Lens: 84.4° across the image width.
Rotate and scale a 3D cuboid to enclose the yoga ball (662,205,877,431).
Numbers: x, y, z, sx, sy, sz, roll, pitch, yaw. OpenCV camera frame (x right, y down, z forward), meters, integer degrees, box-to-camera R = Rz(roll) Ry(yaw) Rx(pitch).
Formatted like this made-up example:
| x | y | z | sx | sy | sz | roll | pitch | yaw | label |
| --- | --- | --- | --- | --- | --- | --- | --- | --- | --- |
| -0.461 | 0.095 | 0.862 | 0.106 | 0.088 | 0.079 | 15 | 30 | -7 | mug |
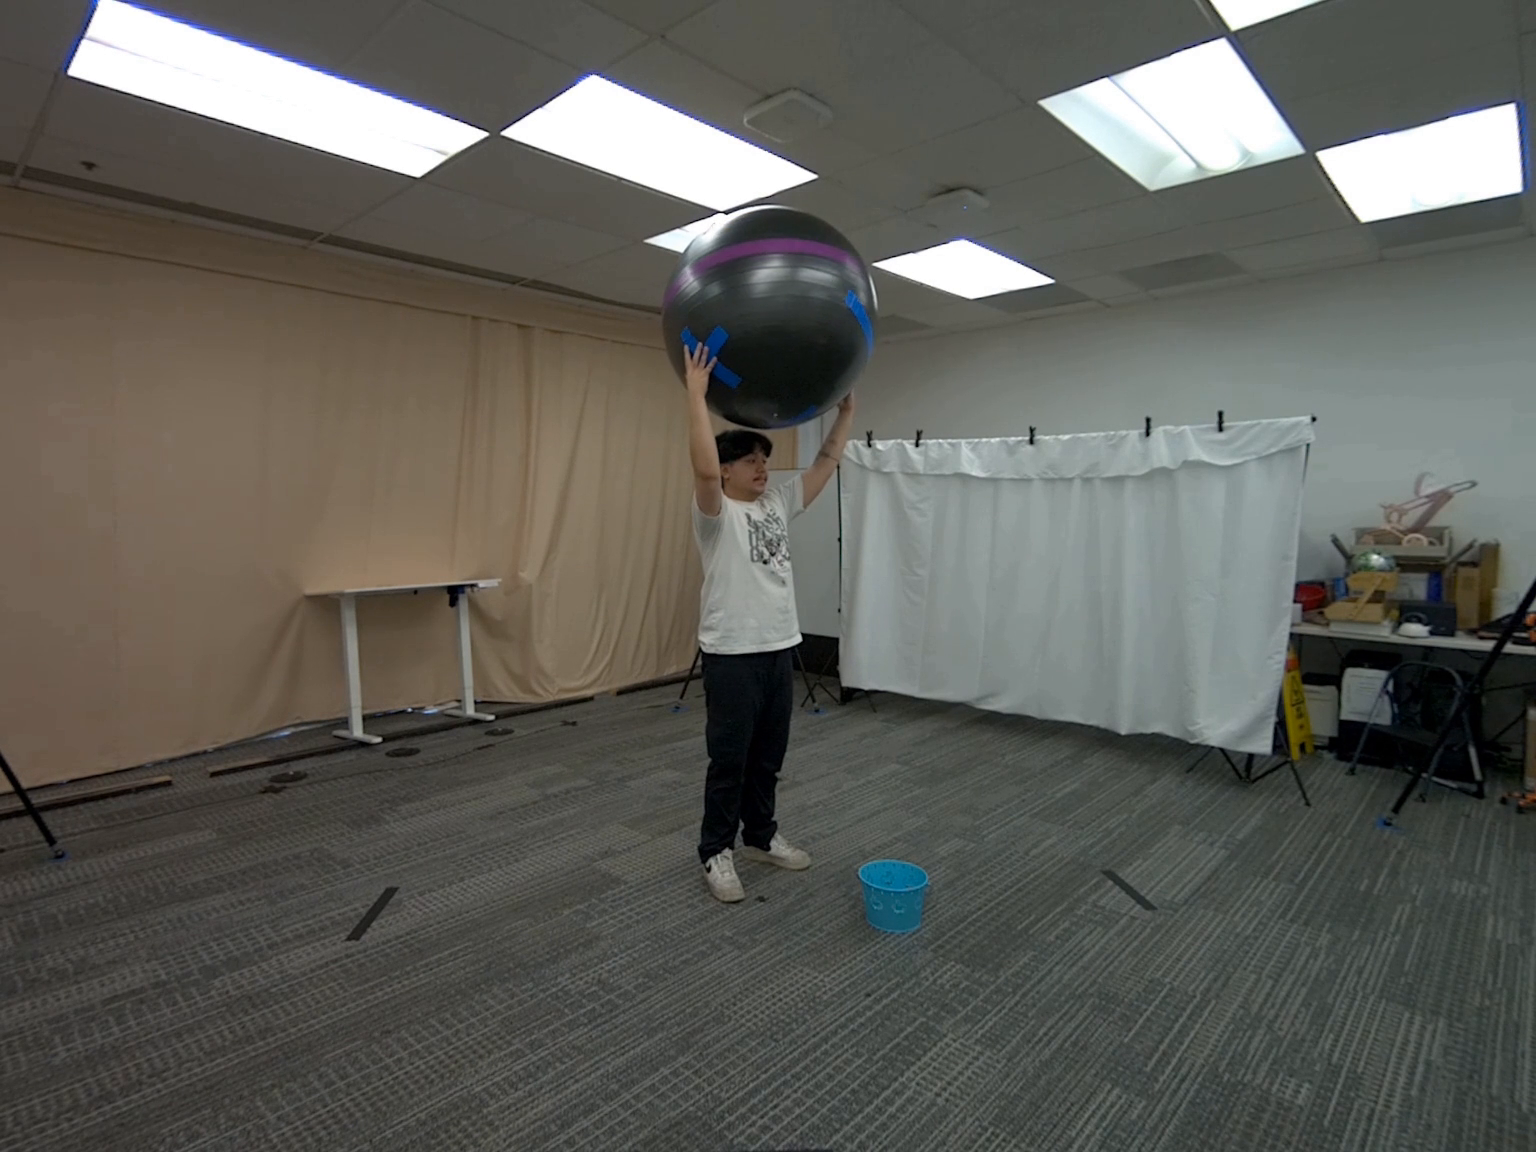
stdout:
| x | y | z | sx | sy | sz | roll | pitch | yaw | label |
| --- | --- | --- | --- | --- | --- | --- | --- | --- | --- |
| 0.006 | -0.899 | 2.987 | 0.757 | 0.756 | 0.760 | 0 | 4 | -2 | yoga ball |
